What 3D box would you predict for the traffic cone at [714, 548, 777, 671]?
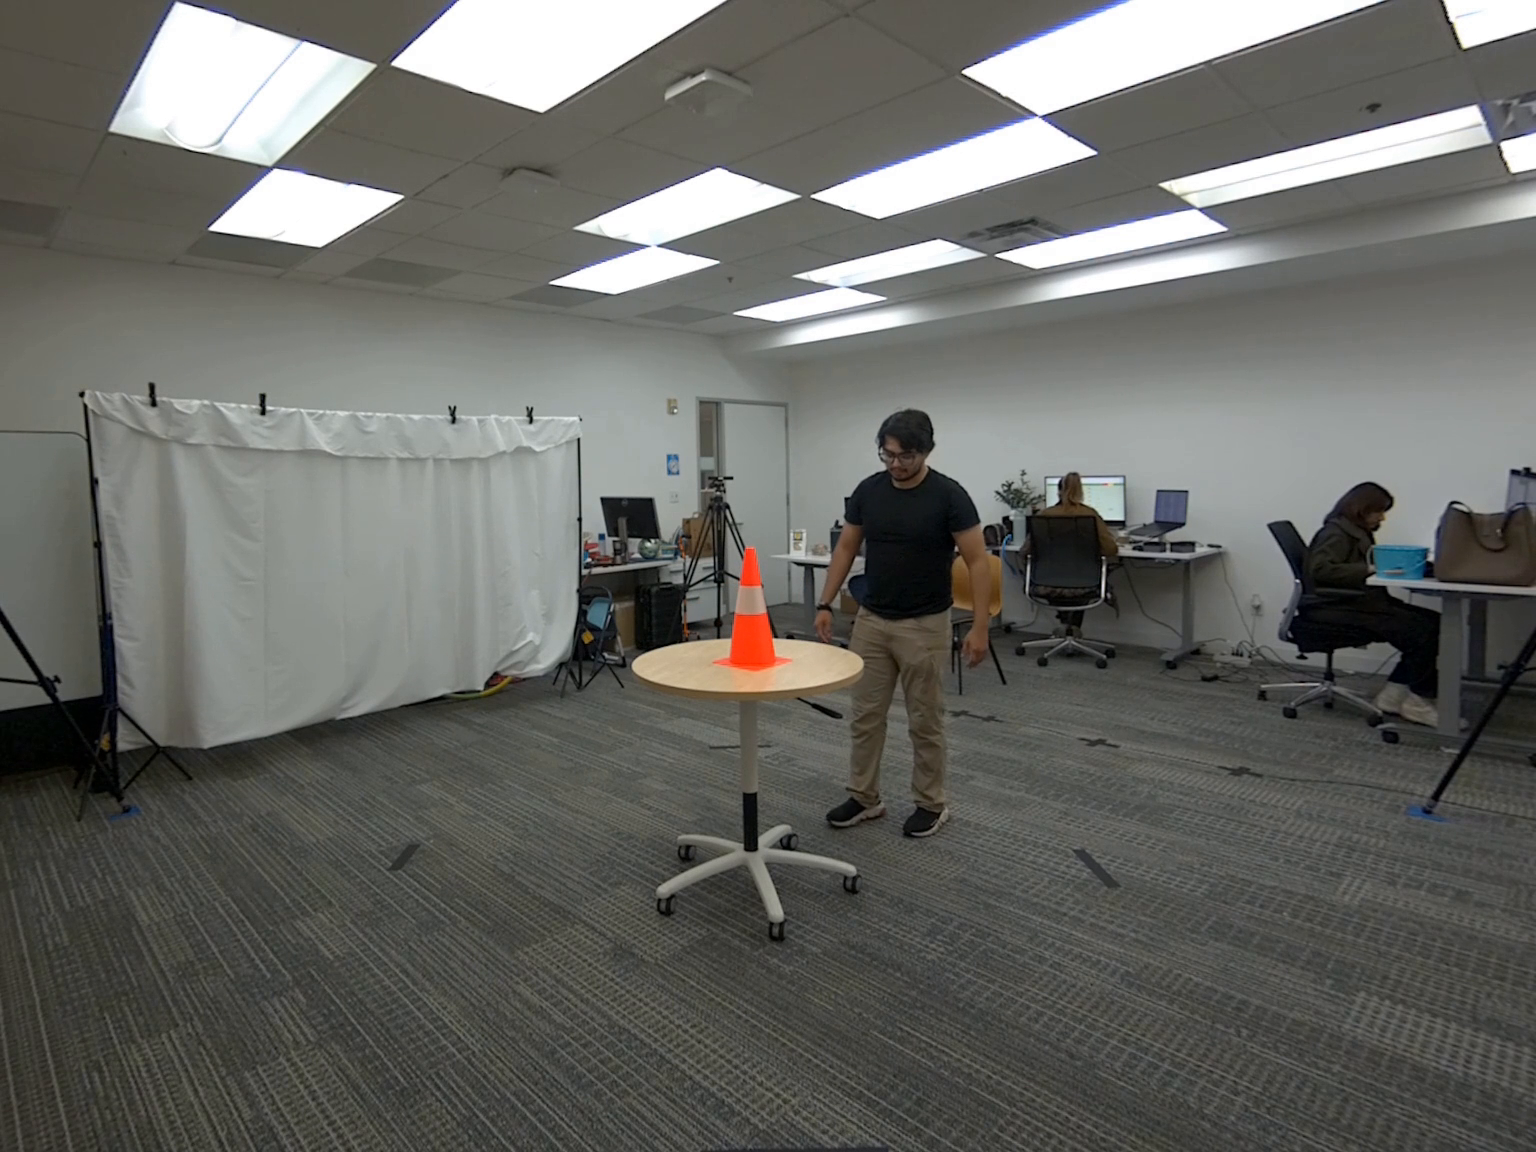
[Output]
[{"bbox_3d":[-0.058,0.101,2.818,0.209,0.382,0.200,2,7,37],"label":"traffic cone"}]
